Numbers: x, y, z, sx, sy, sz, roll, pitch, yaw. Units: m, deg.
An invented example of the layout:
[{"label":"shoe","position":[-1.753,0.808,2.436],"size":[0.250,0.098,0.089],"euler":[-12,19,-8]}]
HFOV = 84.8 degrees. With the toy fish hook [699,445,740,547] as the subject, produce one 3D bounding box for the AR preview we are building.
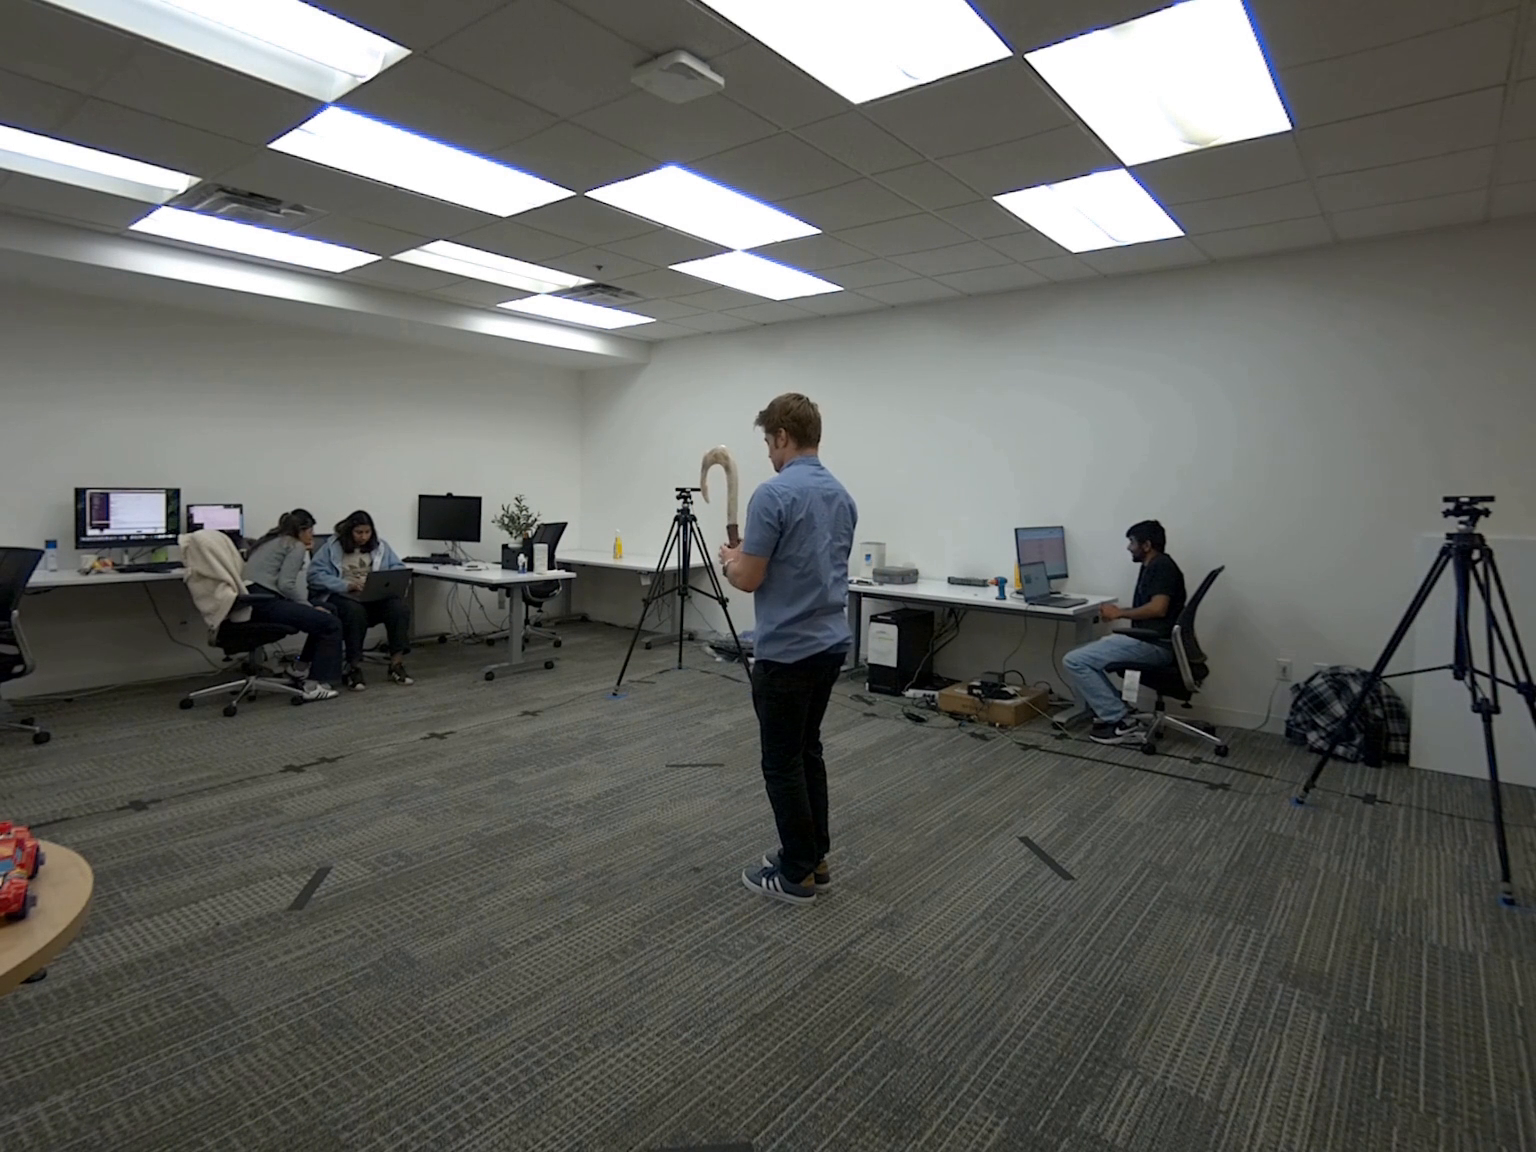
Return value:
[{"label":"toy fish hook","position":[-0.175,-0.236,3.188],"size":[0.047,0.512,0.229],"euler":[-1,-11,-37]}]
